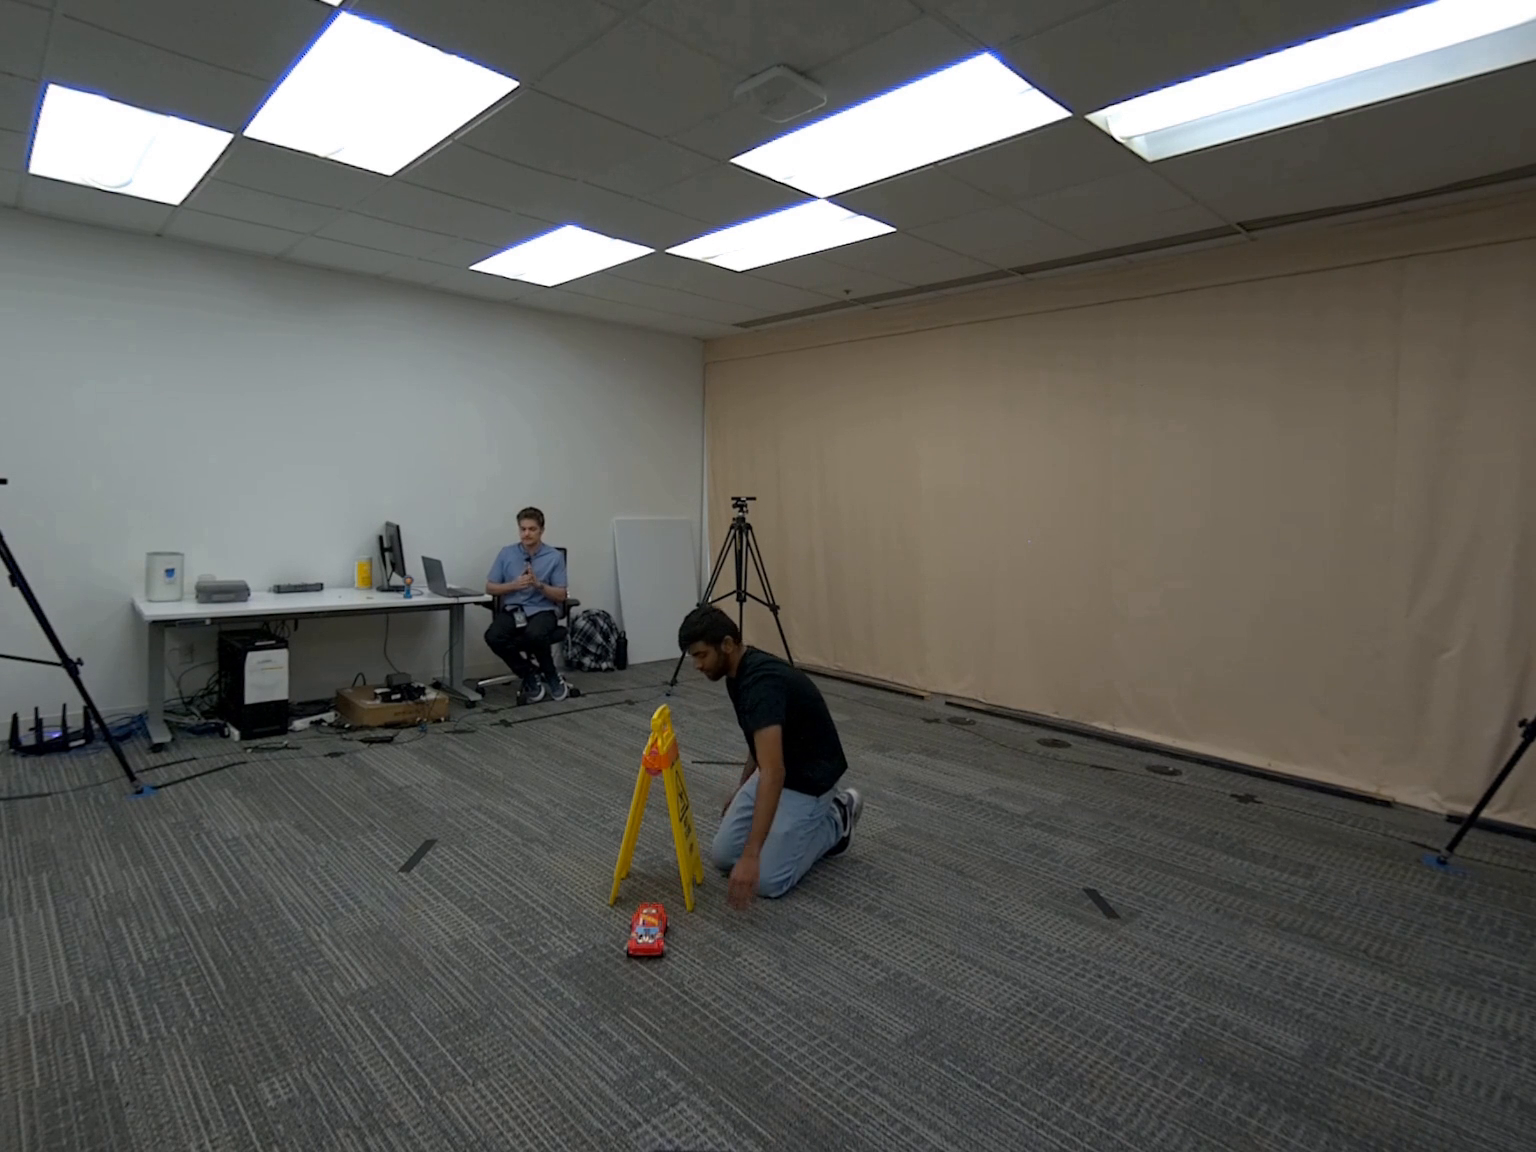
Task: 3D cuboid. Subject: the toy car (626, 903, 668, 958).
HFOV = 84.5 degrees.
[{"bbox_3d":[-0.383,1.115,2.631,0.130,0.082,0.257,1,16,-2],"label":"toy car"}]
